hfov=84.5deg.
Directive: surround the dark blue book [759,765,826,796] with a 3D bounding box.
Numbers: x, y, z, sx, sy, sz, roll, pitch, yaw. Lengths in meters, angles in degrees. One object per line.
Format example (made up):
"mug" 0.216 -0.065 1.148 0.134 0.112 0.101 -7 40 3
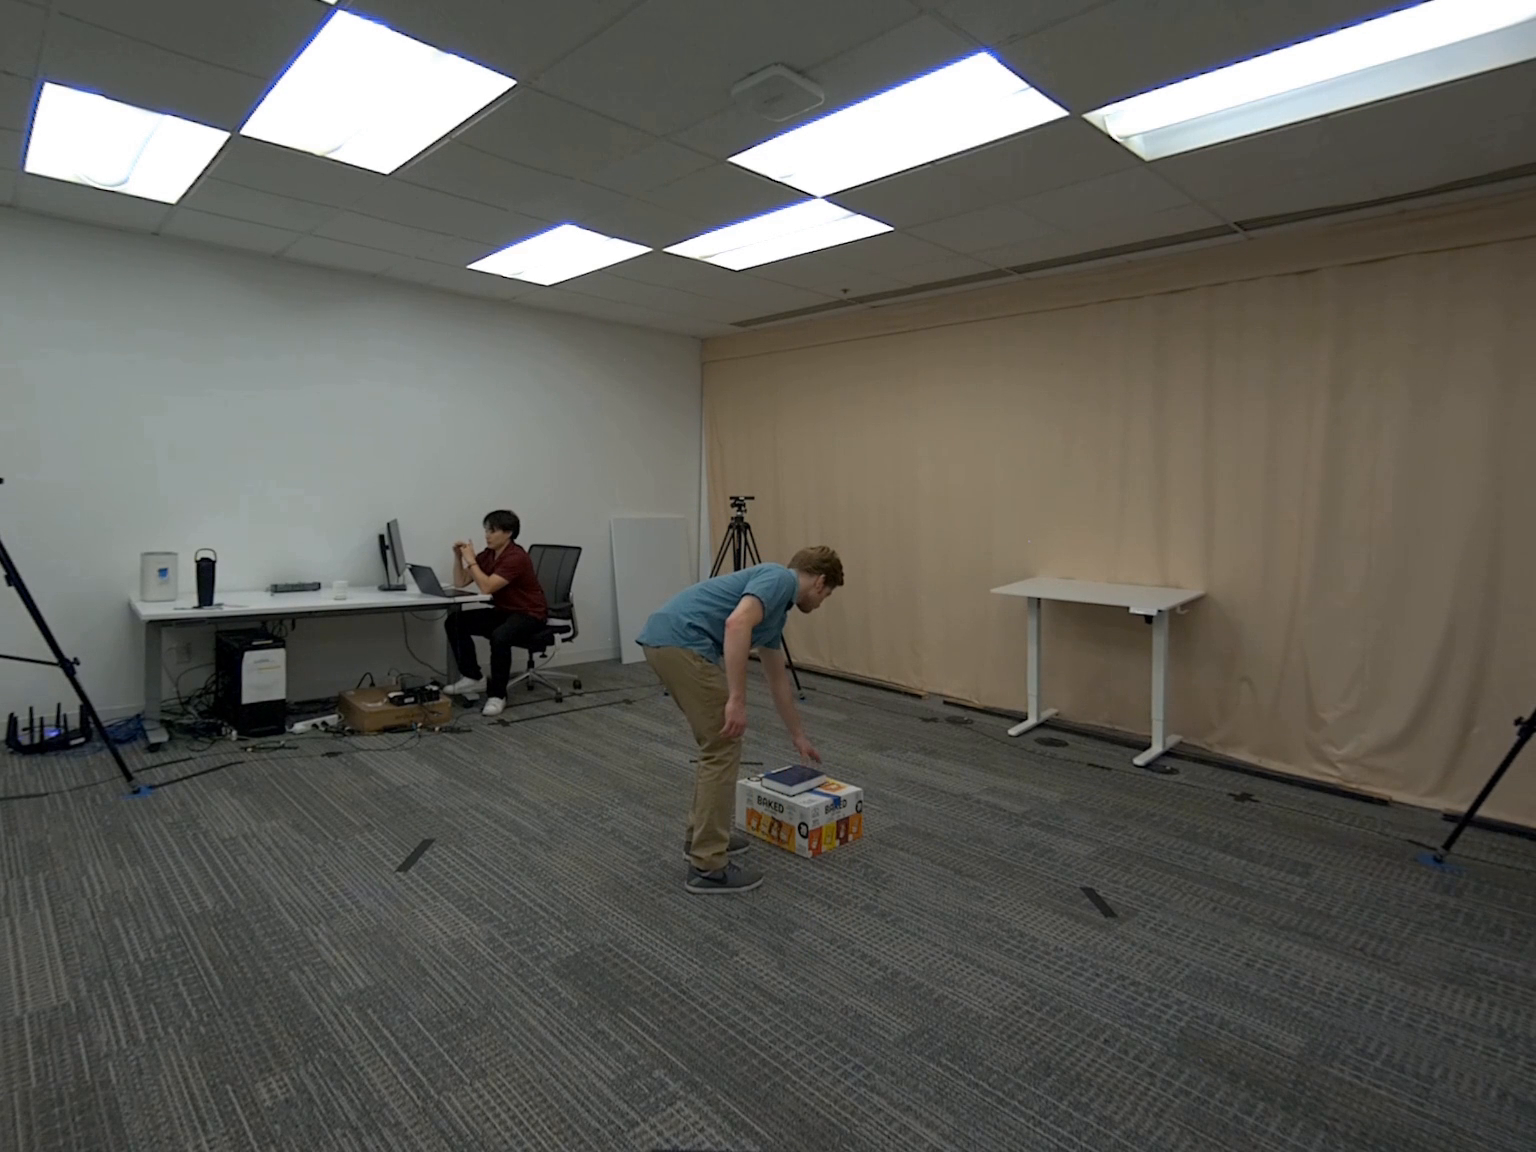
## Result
"dark blue book" 0.102 0.855 3.537 0.167 0.045 0.239 6 6 41
